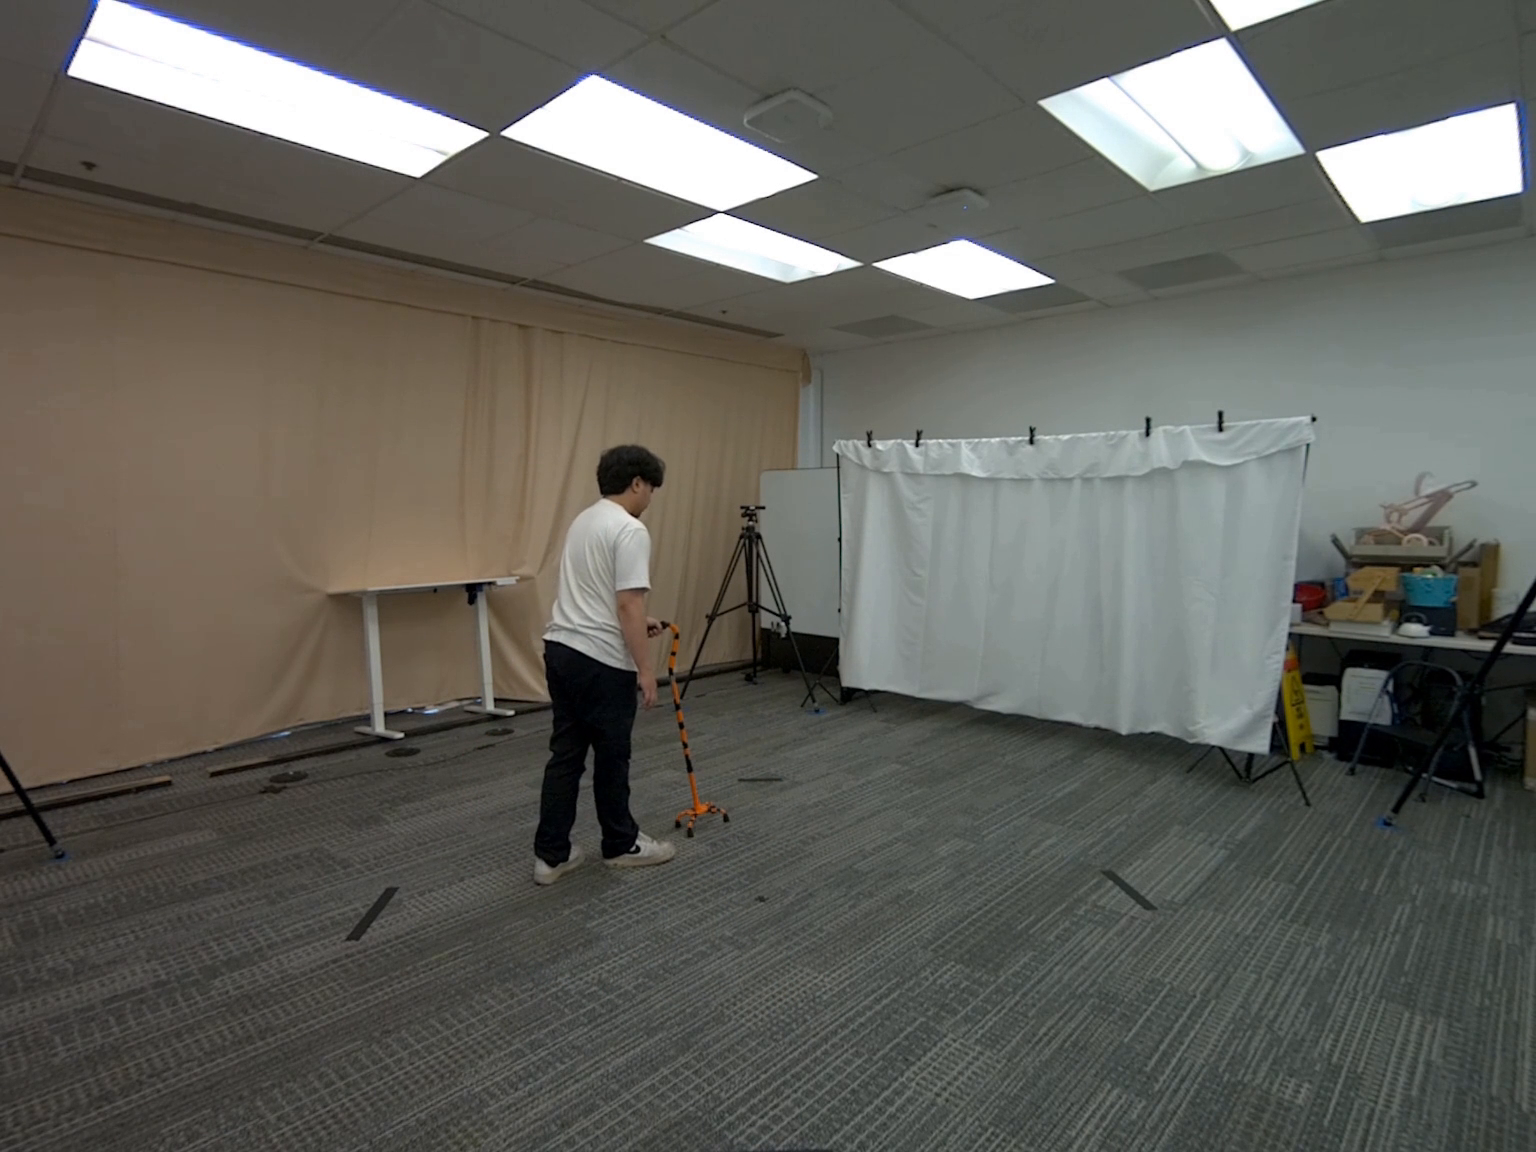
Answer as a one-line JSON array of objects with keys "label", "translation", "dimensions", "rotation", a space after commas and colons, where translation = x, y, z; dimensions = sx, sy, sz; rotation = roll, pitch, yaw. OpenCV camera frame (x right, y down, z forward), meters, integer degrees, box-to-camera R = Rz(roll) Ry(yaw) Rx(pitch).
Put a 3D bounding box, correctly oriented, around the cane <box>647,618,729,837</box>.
[{"label": "cane", "translation": [-0.362, 0.640, 3.589], "dimensions": [0.202, 0.902, 0.156], "rotation": [-14, 8, -28]}]
